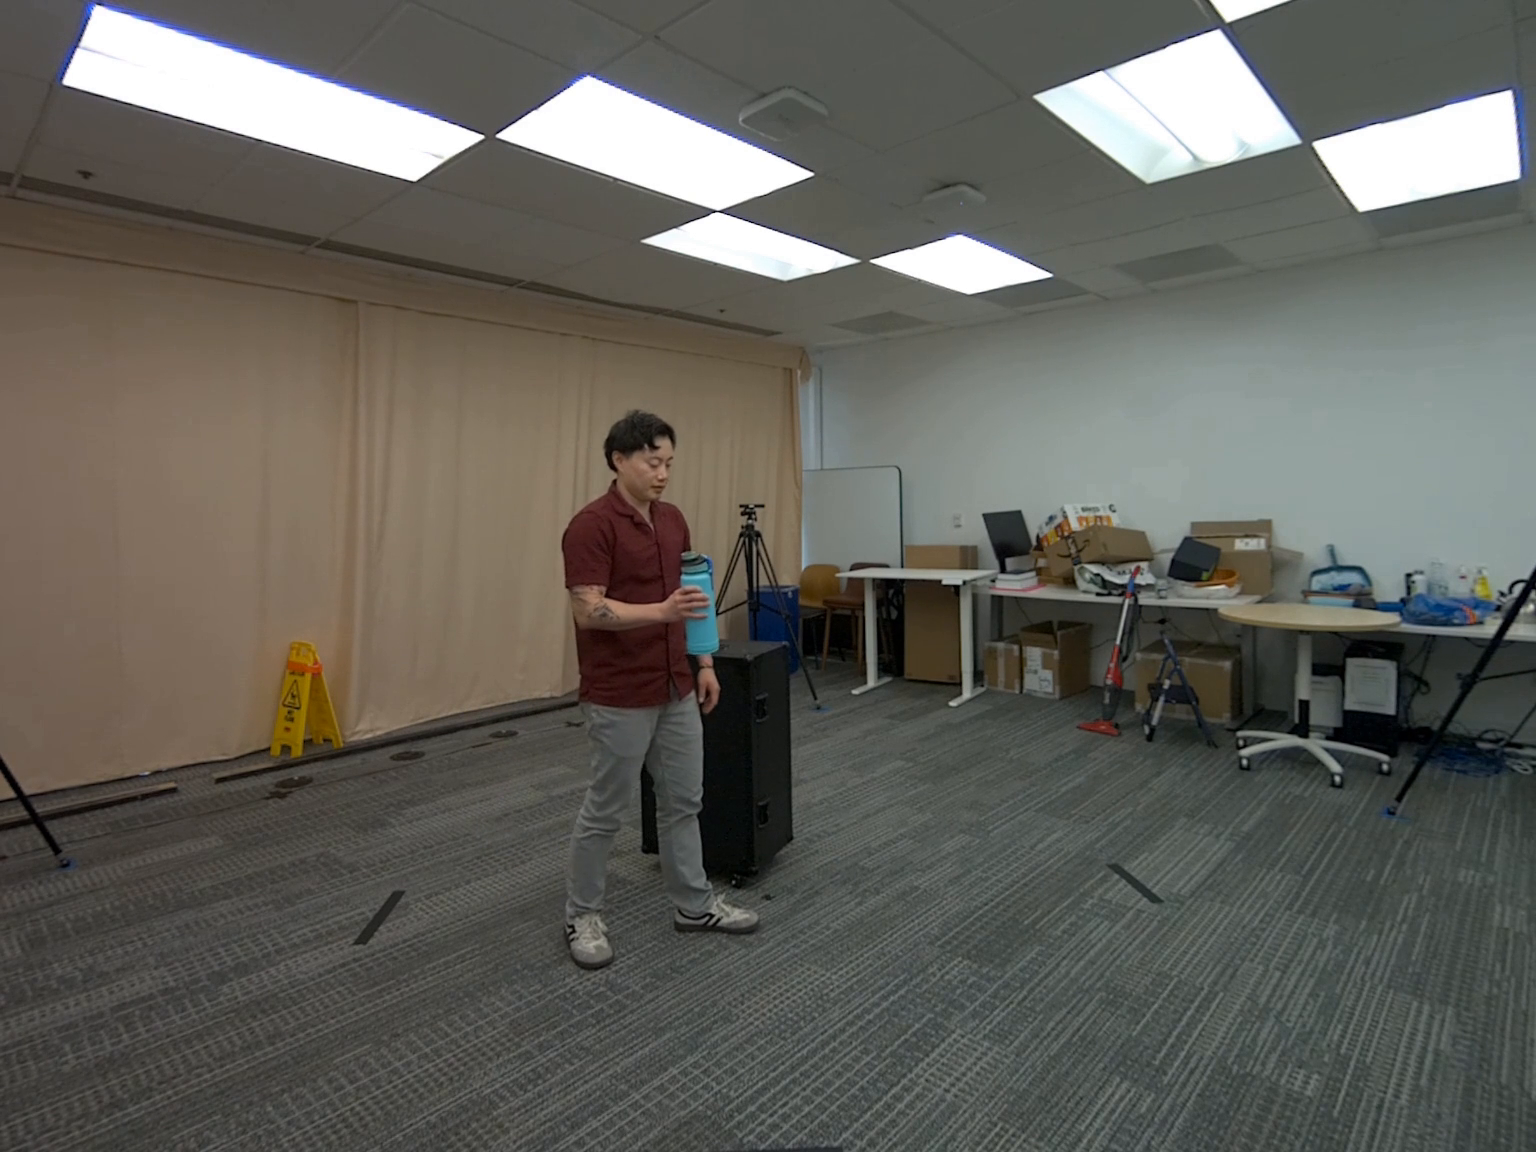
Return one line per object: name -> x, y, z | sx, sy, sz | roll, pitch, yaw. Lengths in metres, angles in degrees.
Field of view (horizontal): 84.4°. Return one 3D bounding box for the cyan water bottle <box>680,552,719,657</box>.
cyan water bottle -> -0.194, 0.071, 2.346 | 0.092, 0.282, 0.093 | -2, 5, -2
